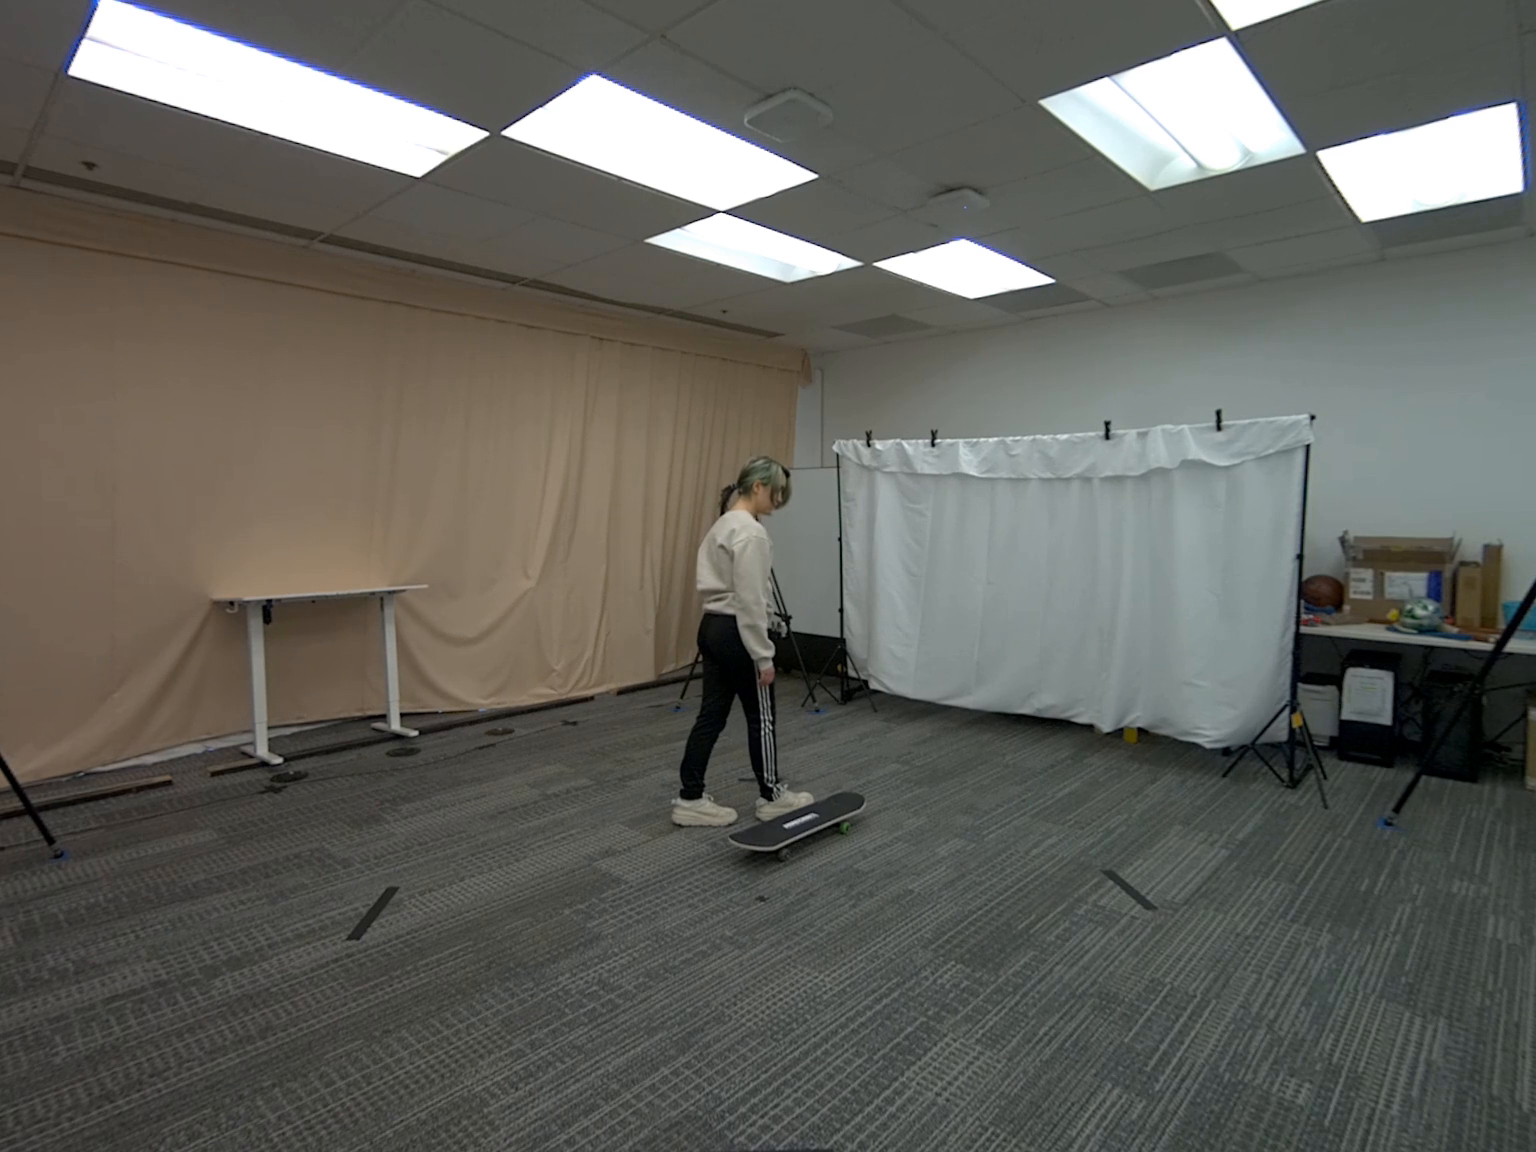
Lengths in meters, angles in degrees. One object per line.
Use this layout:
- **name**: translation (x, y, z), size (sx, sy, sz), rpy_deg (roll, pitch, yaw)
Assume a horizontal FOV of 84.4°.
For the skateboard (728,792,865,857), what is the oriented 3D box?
- **skateboard**: translation (0.137, 1.047, 3.483), size (0.200, 0.110, 0.761), rpy_deg (5, 7, 44)
